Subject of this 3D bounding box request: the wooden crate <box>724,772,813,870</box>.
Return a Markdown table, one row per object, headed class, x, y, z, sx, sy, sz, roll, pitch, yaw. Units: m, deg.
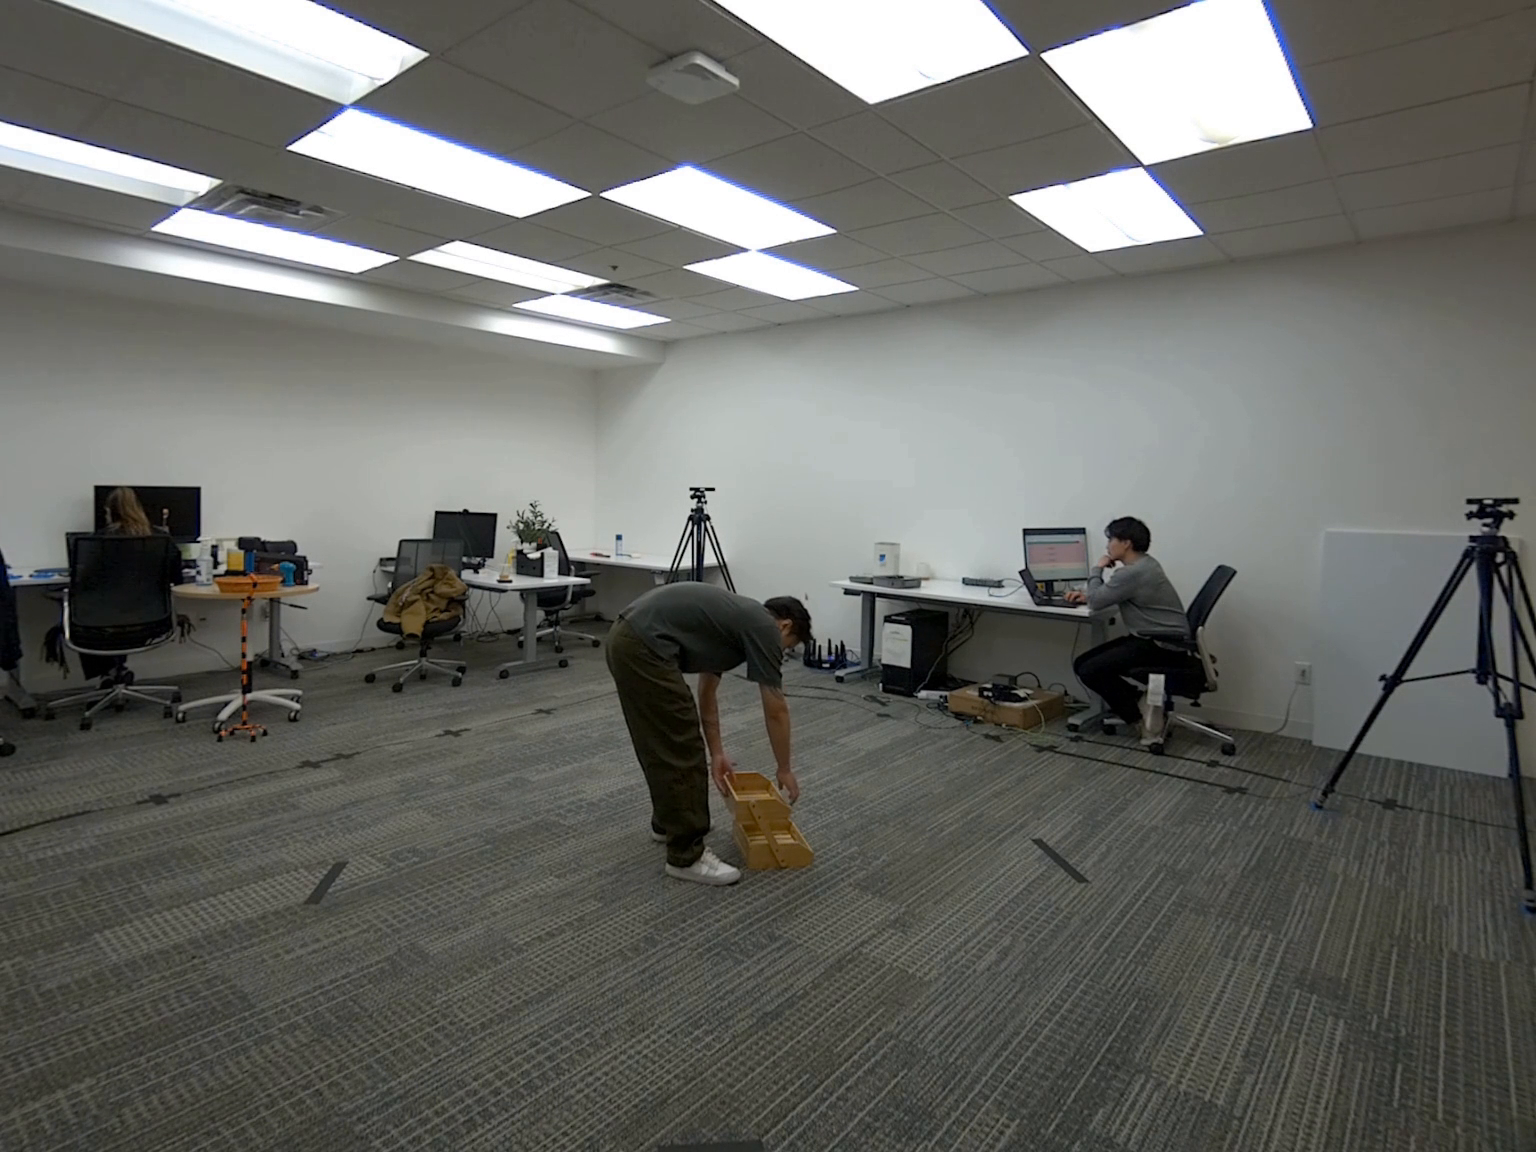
| class | x | y | z | sx | sy | sz | roll | pitch | yaw |
| --- | --- | --- | --- | --- | --- | --- | --- | --- | --- |
| wooden crate | -0.009 | 0.924 | 3.255 | 0.298 | 0.272 | 0.330 | 0 | 5 | -14 |
